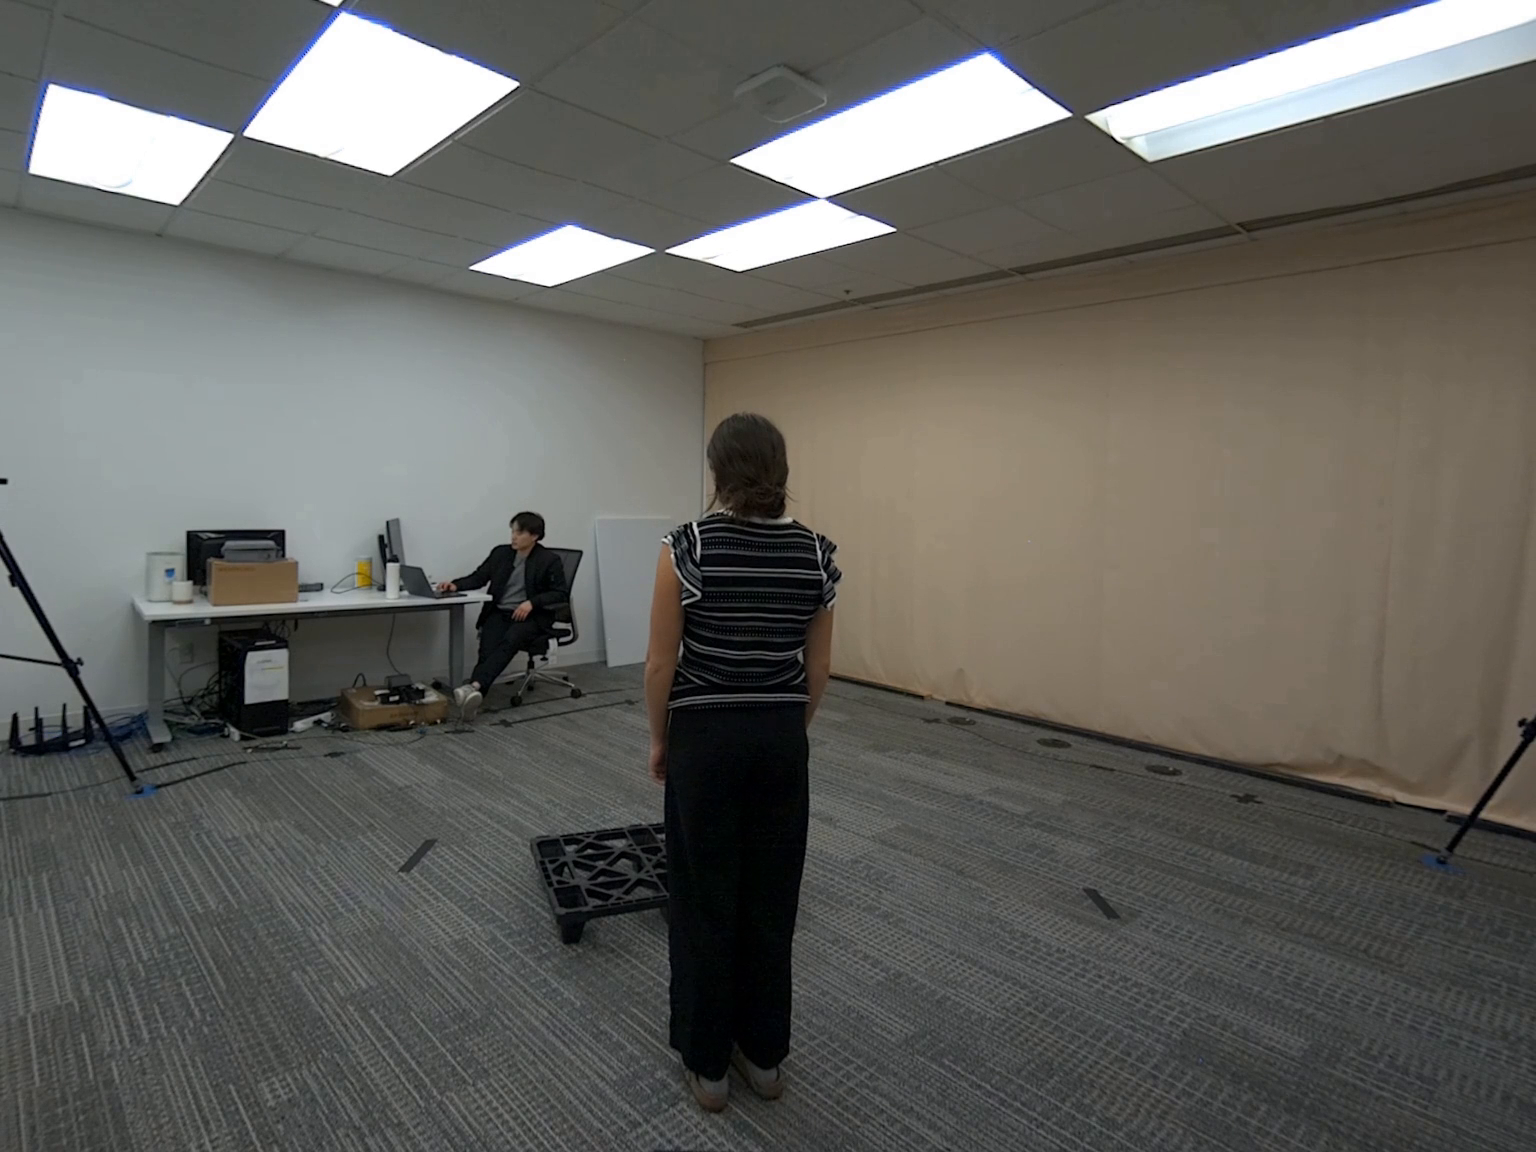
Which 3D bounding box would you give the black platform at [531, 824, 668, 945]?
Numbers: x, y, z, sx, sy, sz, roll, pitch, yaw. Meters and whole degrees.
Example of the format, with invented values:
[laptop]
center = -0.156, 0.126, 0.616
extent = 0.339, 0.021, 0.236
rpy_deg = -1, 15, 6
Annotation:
[black platform]
center = -0.399, 1.048, 2.946
extent = 0.793, 0.143, 0.616
rpy_deg = -1, 5, -22
